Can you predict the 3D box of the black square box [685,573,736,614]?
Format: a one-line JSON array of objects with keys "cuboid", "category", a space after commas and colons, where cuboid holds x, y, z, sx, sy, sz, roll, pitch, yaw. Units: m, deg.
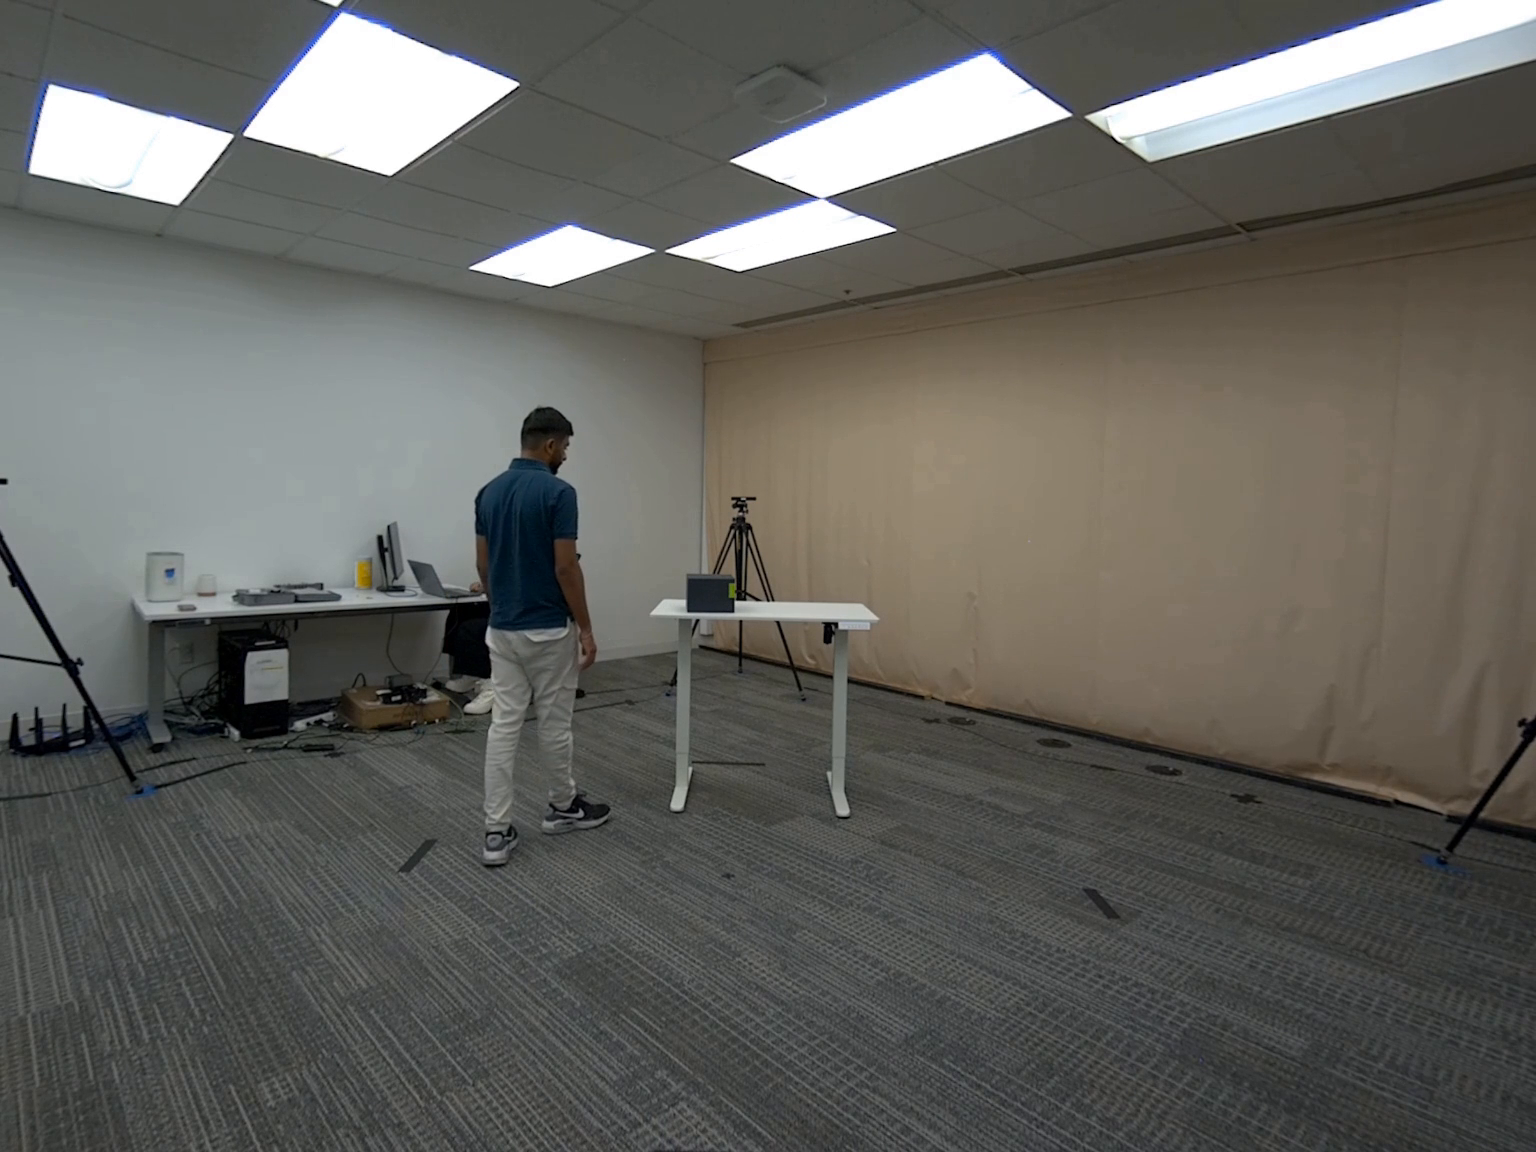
[{"cuboid": [-0.258, 0.080, 3.879, 0.217, 0.156, 0.228, 1, 2, -1], "category": "black square box"}]
